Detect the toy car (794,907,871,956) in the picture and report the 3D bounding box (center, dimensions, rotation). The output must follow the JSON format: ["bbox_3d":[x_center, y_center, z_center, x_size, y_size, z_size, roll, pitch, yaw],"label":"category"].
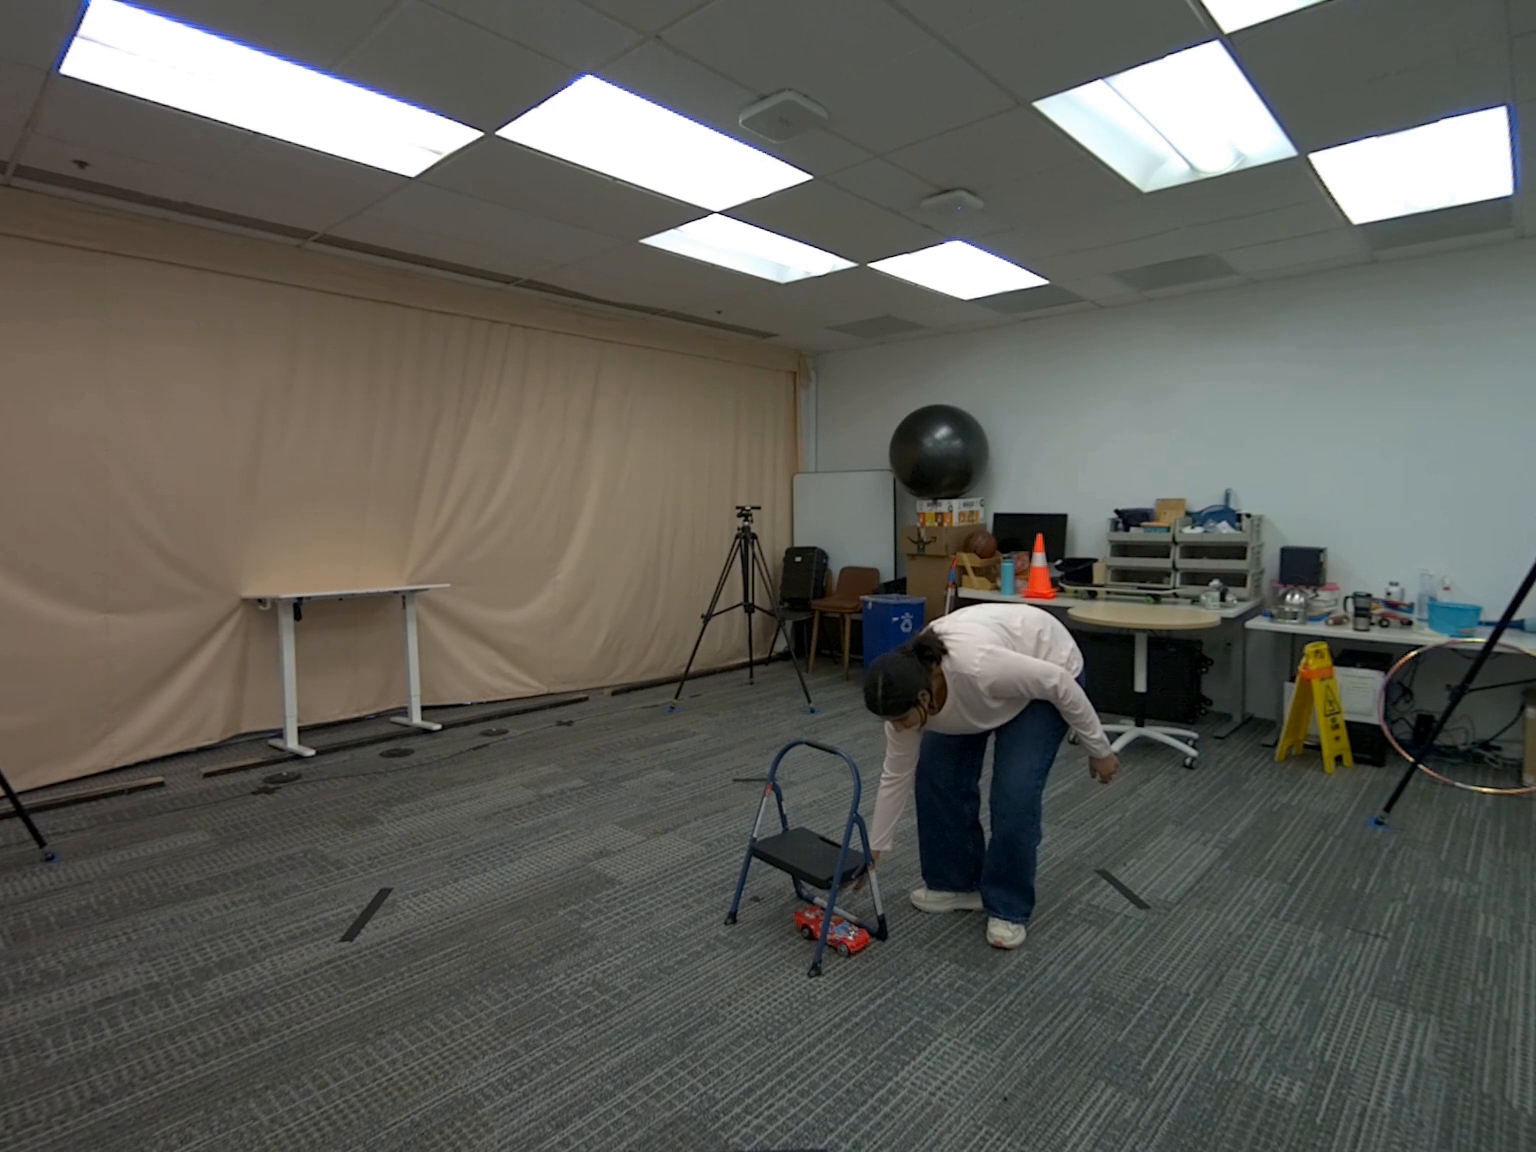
[{"bbox_3d":[0.203,1.132,2.715,0.126,0.083,0.264,-6,17,-45],"label":"toy car"}]
